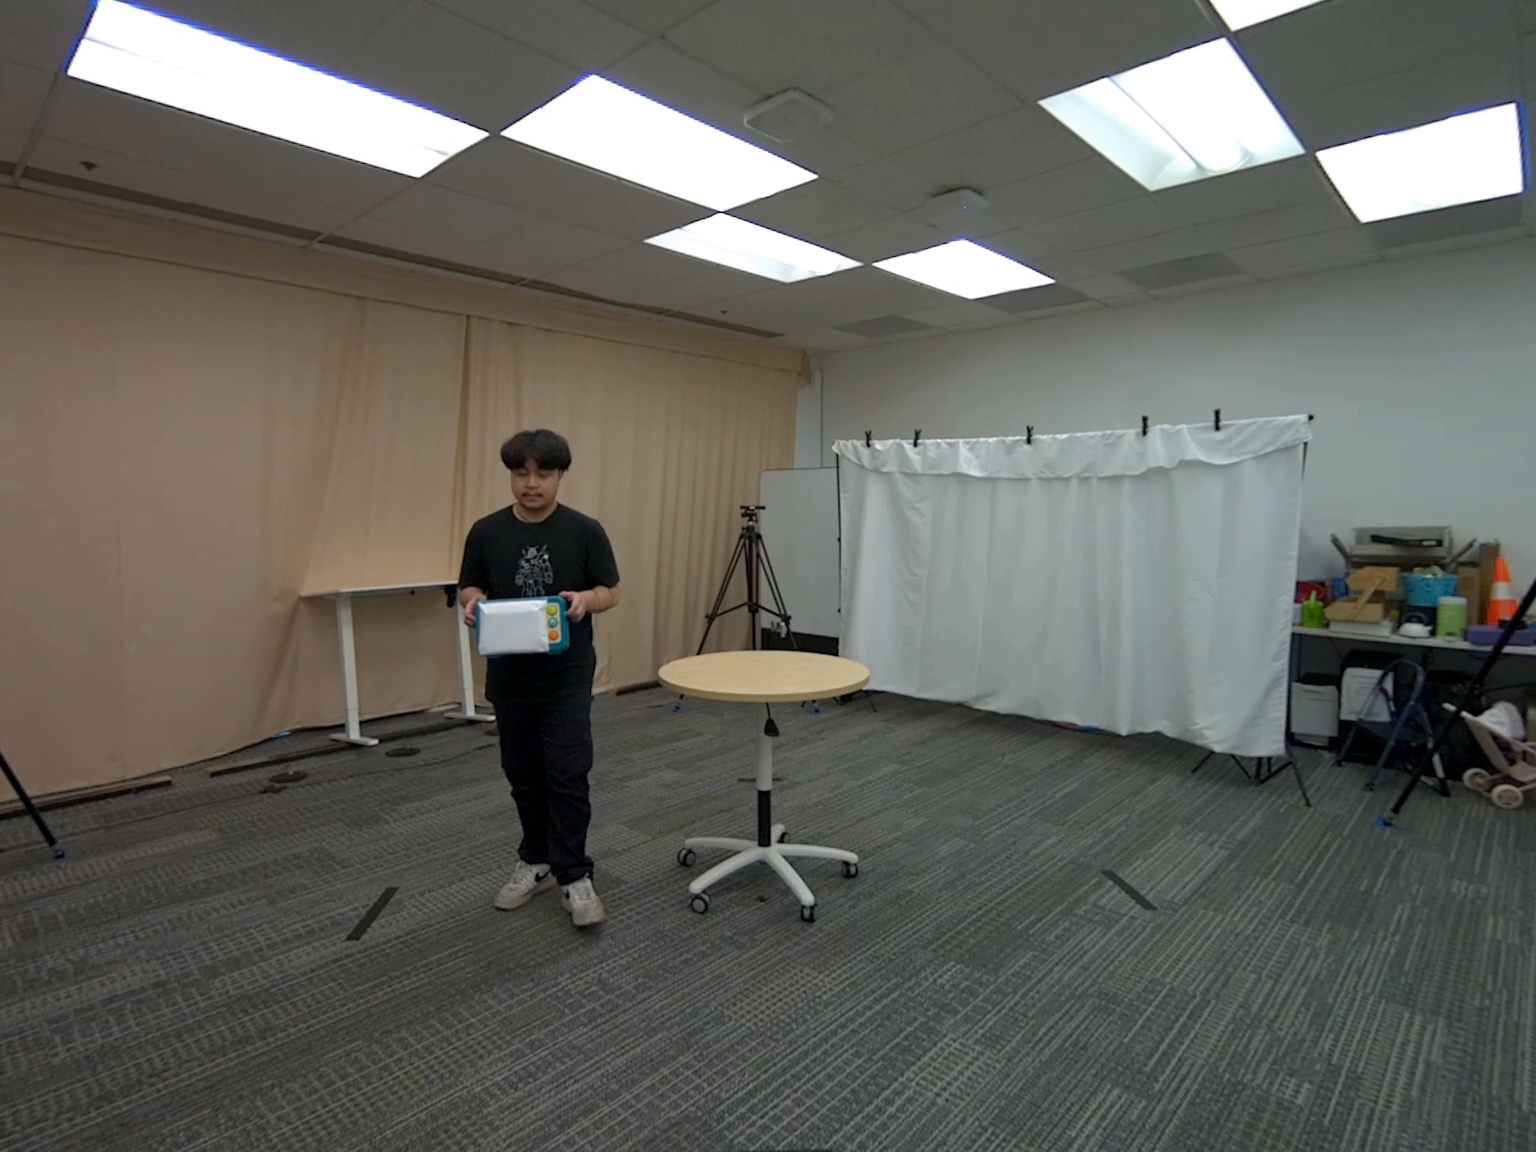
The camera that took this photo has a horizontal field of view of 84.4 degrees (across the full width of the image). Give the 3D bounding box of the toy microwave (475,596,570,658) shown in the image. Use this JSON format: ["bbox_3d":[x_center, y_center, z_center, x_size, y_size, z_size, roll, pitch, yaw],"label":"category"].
[{"bbox_3d":[-0.786,0.163,2.701,0.284,0.184,0.153,-3,-3,-6],"label":"toy microwave"}]
